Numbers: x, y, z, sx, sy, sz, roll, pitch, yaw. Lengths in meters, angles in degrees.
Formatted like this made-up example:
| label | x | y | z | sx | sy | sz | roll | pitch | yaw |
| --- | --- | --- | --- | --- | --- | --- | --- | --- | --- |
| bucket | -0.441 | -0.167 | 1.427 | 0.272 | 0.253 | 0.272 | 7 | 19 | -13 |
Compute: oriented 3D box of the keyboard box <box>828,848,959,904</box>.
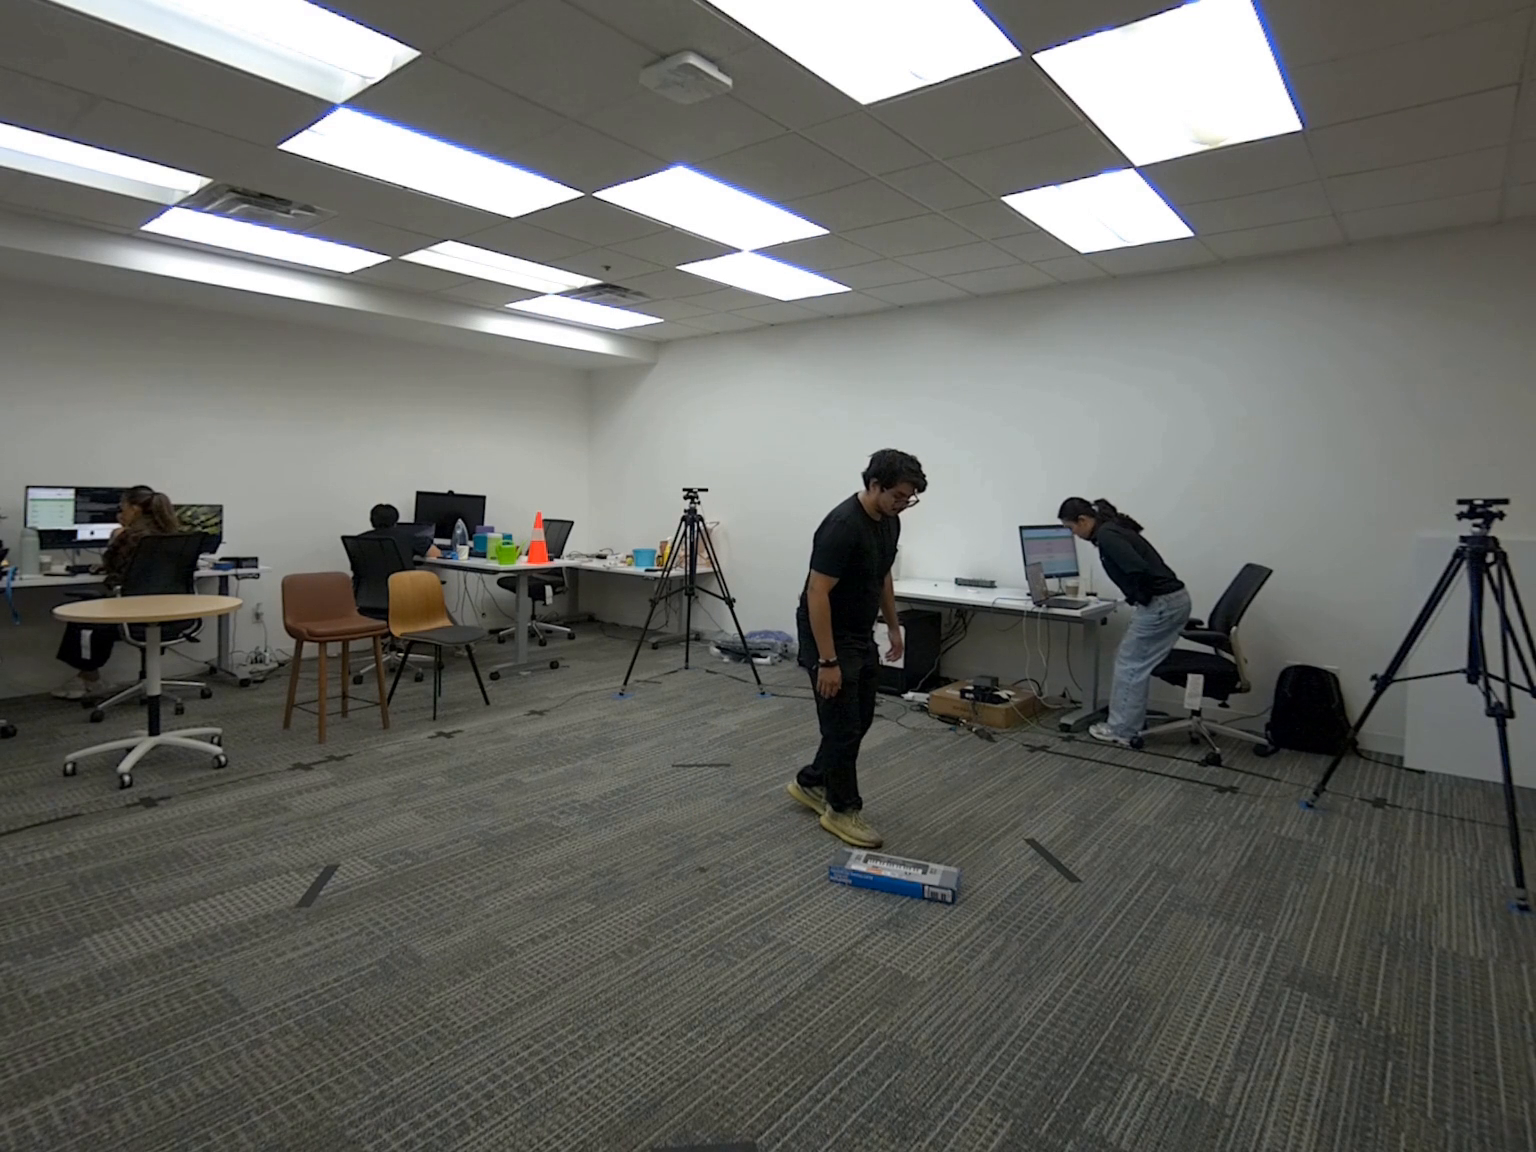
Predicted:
| label | x | y | z | sx | sy | sz | roll | pitch | yaw |
| --- | --- | --- | --- | --- | --- | --- | --- | --- | --- |
| keyboard box | 0.447 | 1.062 | 3.034 | 0.446 | 0.059 | 0.173 | 3 | 7 | 20 |
